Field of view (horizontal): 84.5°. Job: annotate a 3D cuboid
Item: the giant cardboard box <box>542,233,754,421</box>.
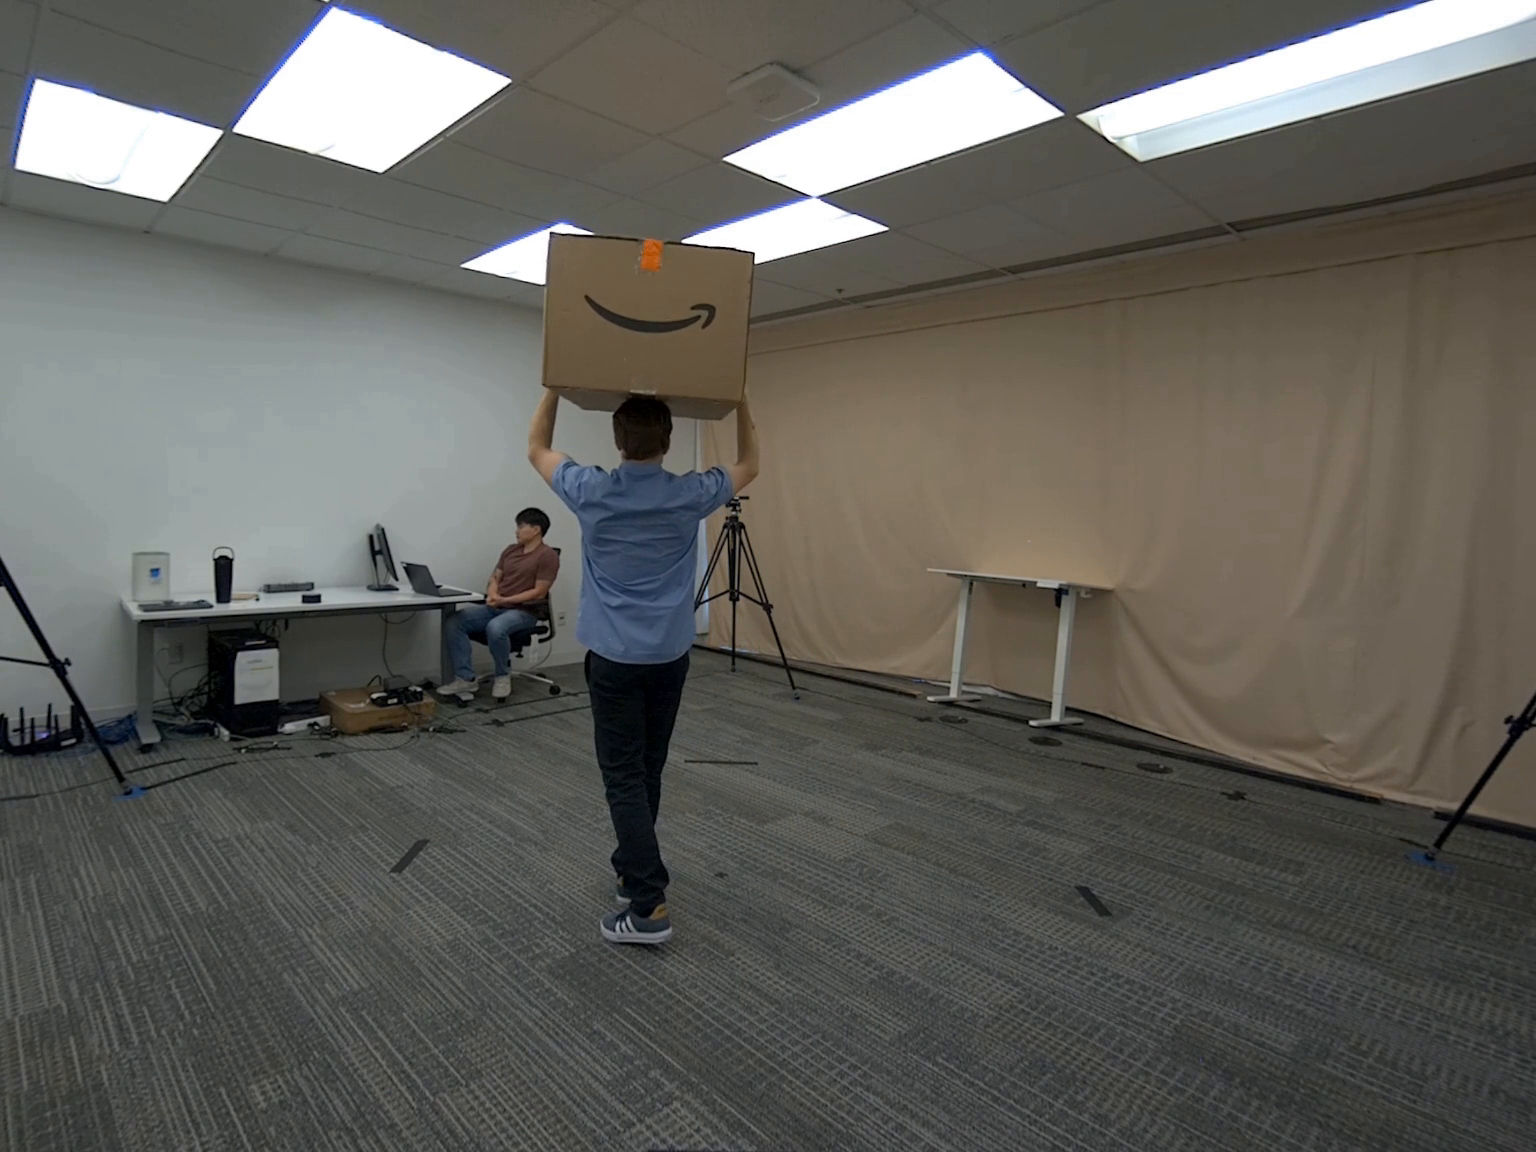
[{"bbox_3d":[-0.393,-0.787,2.851,0.575,0.424,1.035,4,7,-6],"label":"giant cardboard box"}]
